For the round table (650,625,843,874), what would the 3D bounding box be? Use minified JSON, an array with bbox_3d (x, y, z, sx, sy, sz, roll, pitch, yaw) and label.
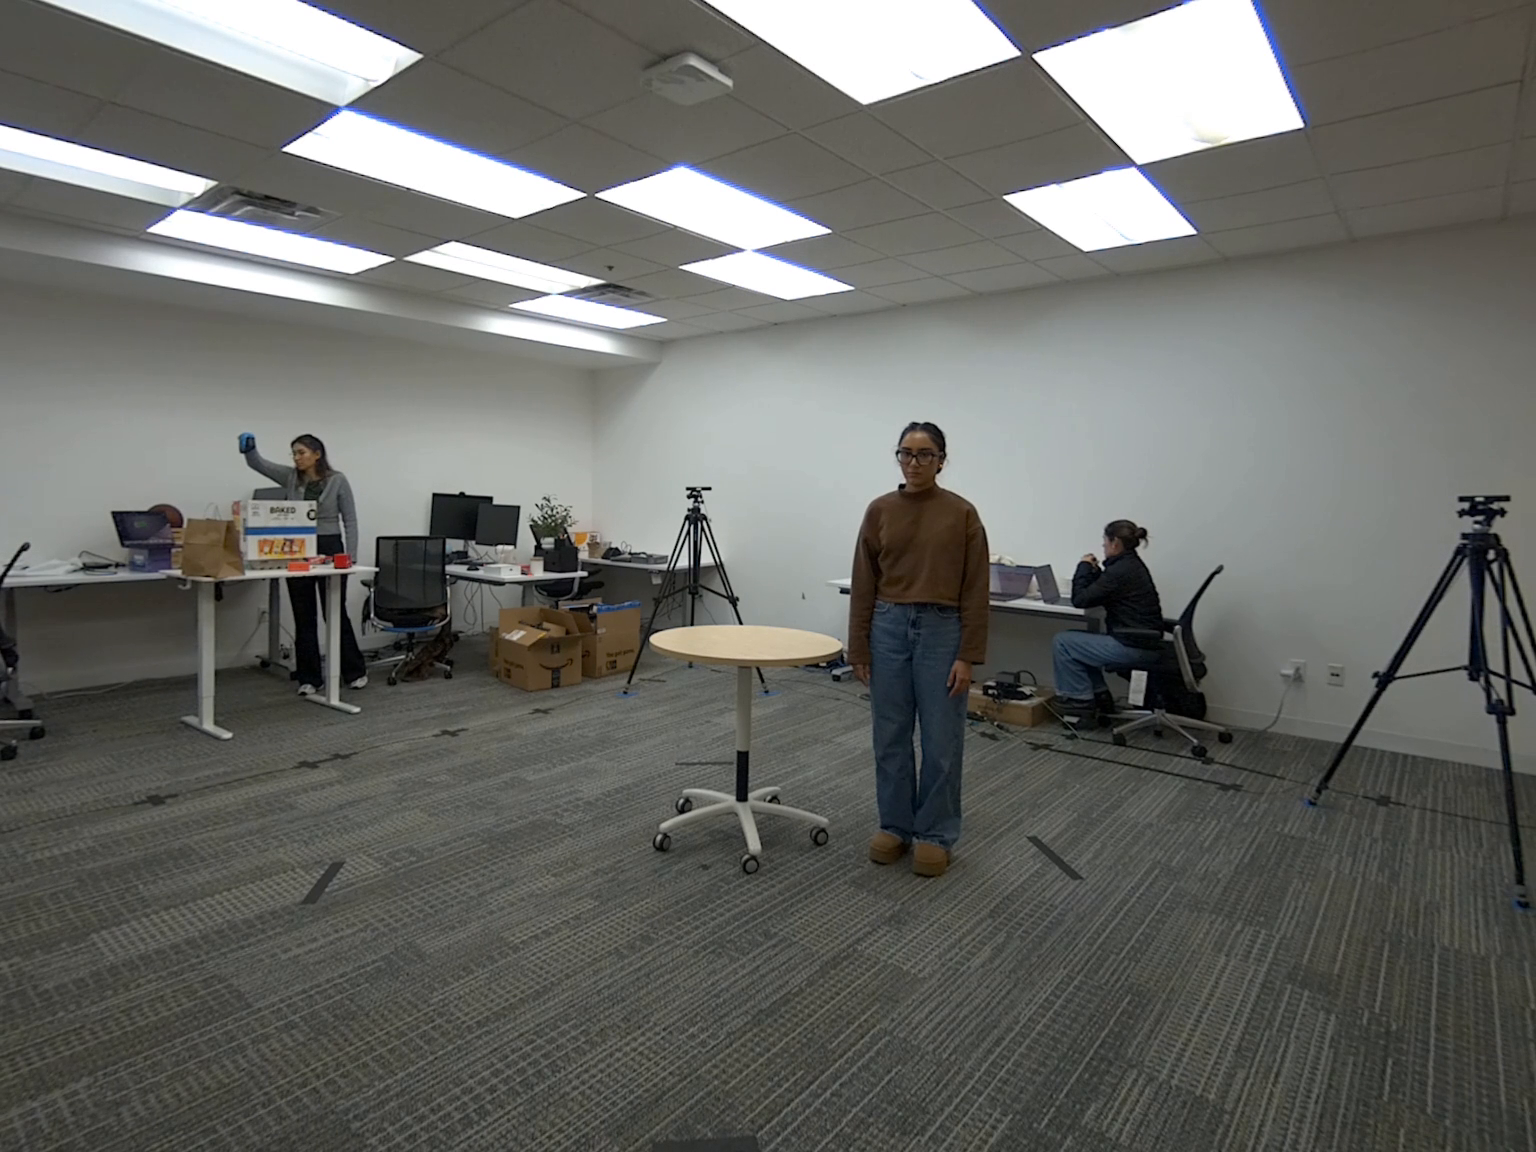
[{"bbox_3d":[-0.111,0.649,3.409,0.763,0.792,0.767,1,4,-2],"label":"round table"}]
